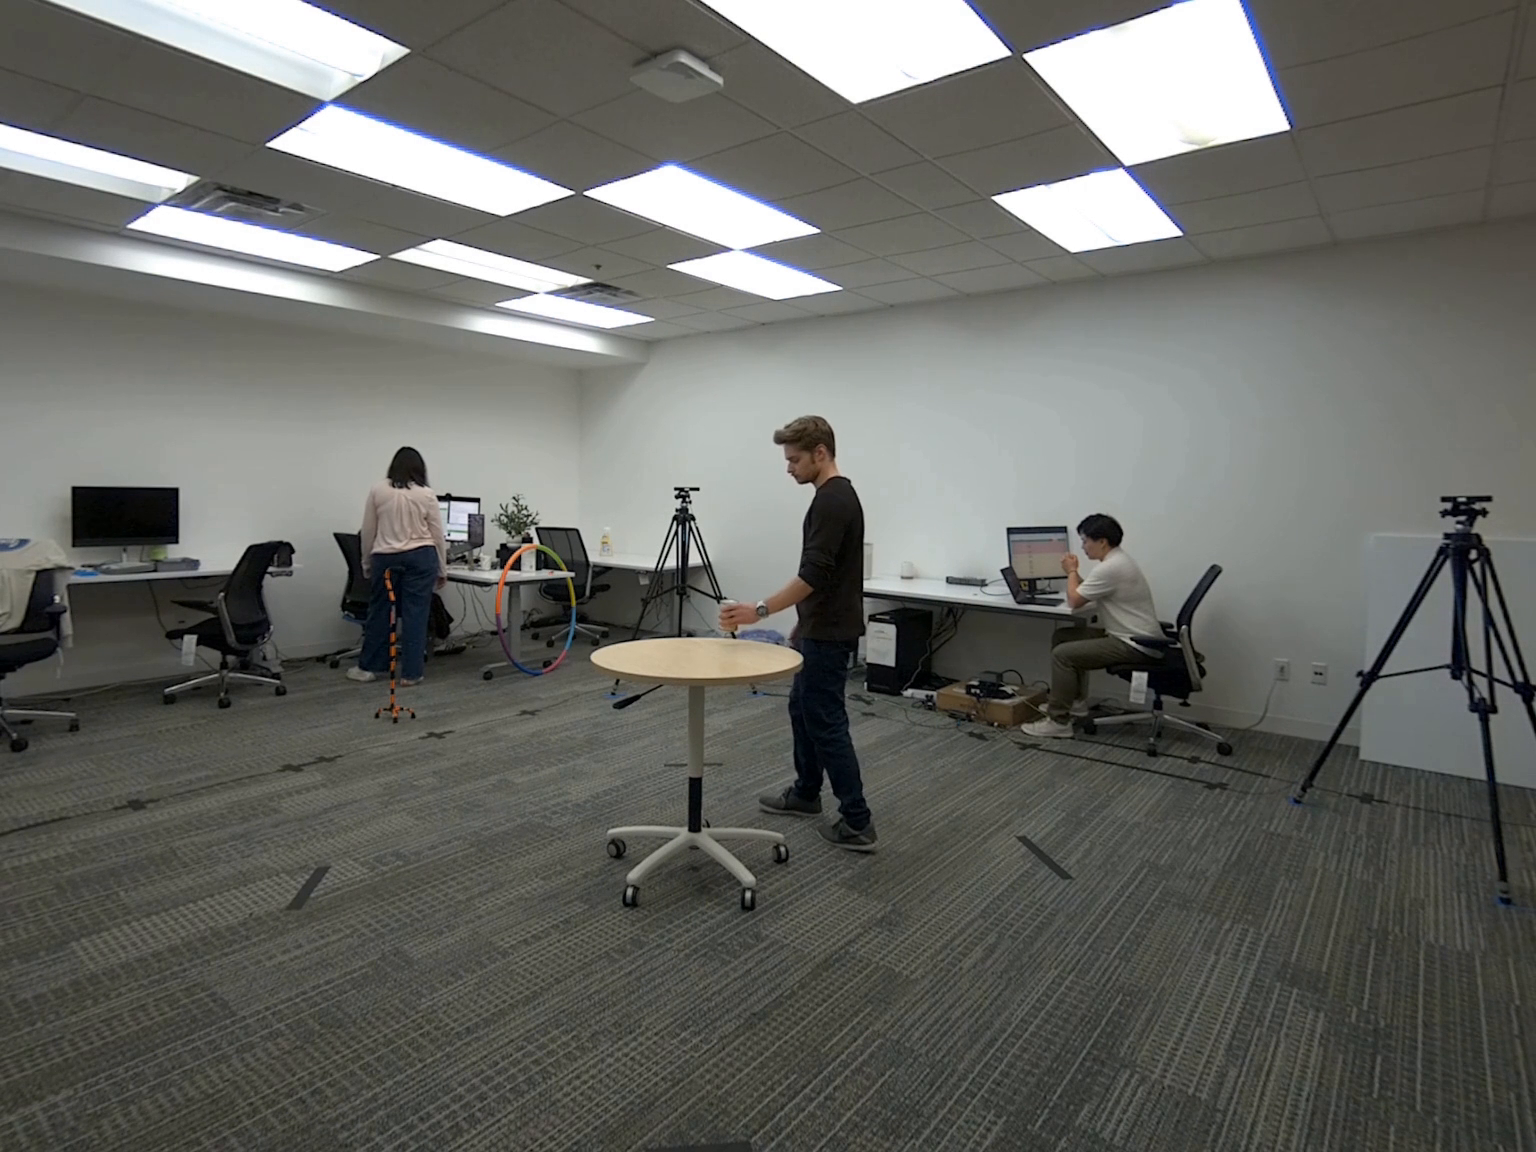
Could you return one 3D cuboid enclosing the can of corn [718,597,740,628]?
[{"bbox_3d":[-0.157,0.145,3.310,0.074,0.110,0.074,5,4,-2],"label":"can of corn"}]
